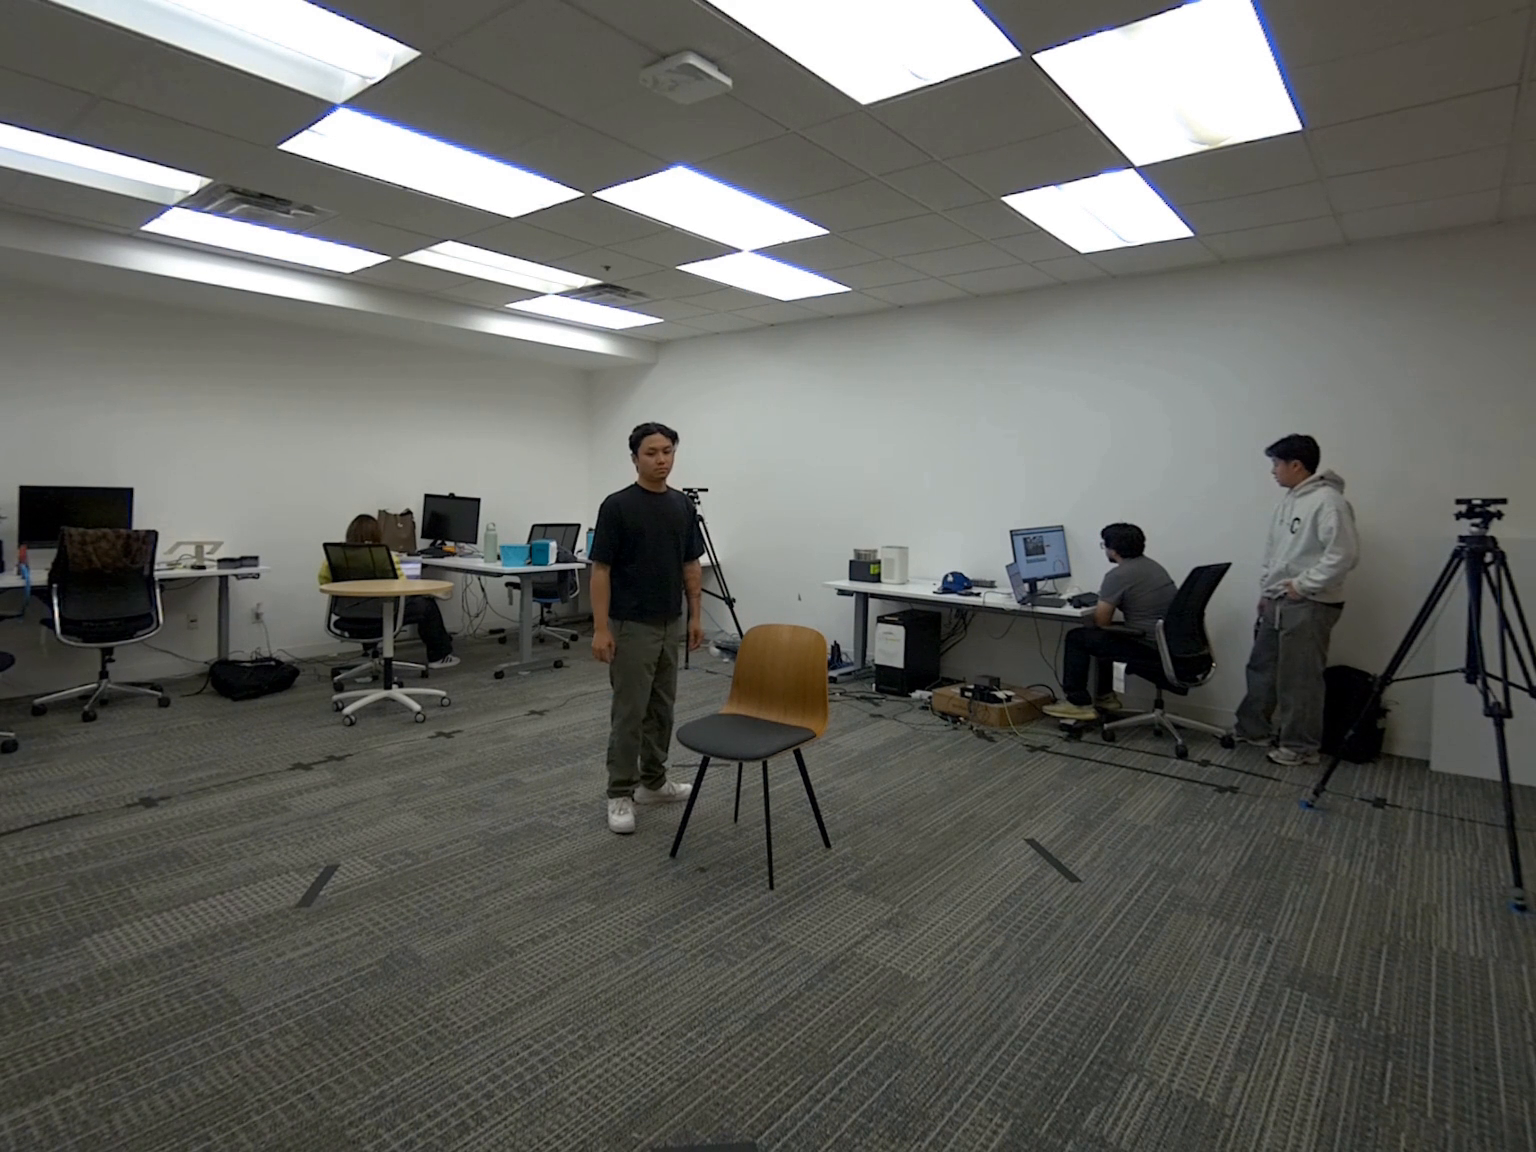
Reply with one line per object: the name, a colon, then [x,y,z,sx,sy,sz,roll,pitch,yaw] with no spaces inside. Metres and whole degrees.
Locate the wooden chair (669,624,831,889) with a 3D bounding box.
wooden chair: [-0.064,0.632,3.231,0.493,0.878,0.507,4,0,32]
